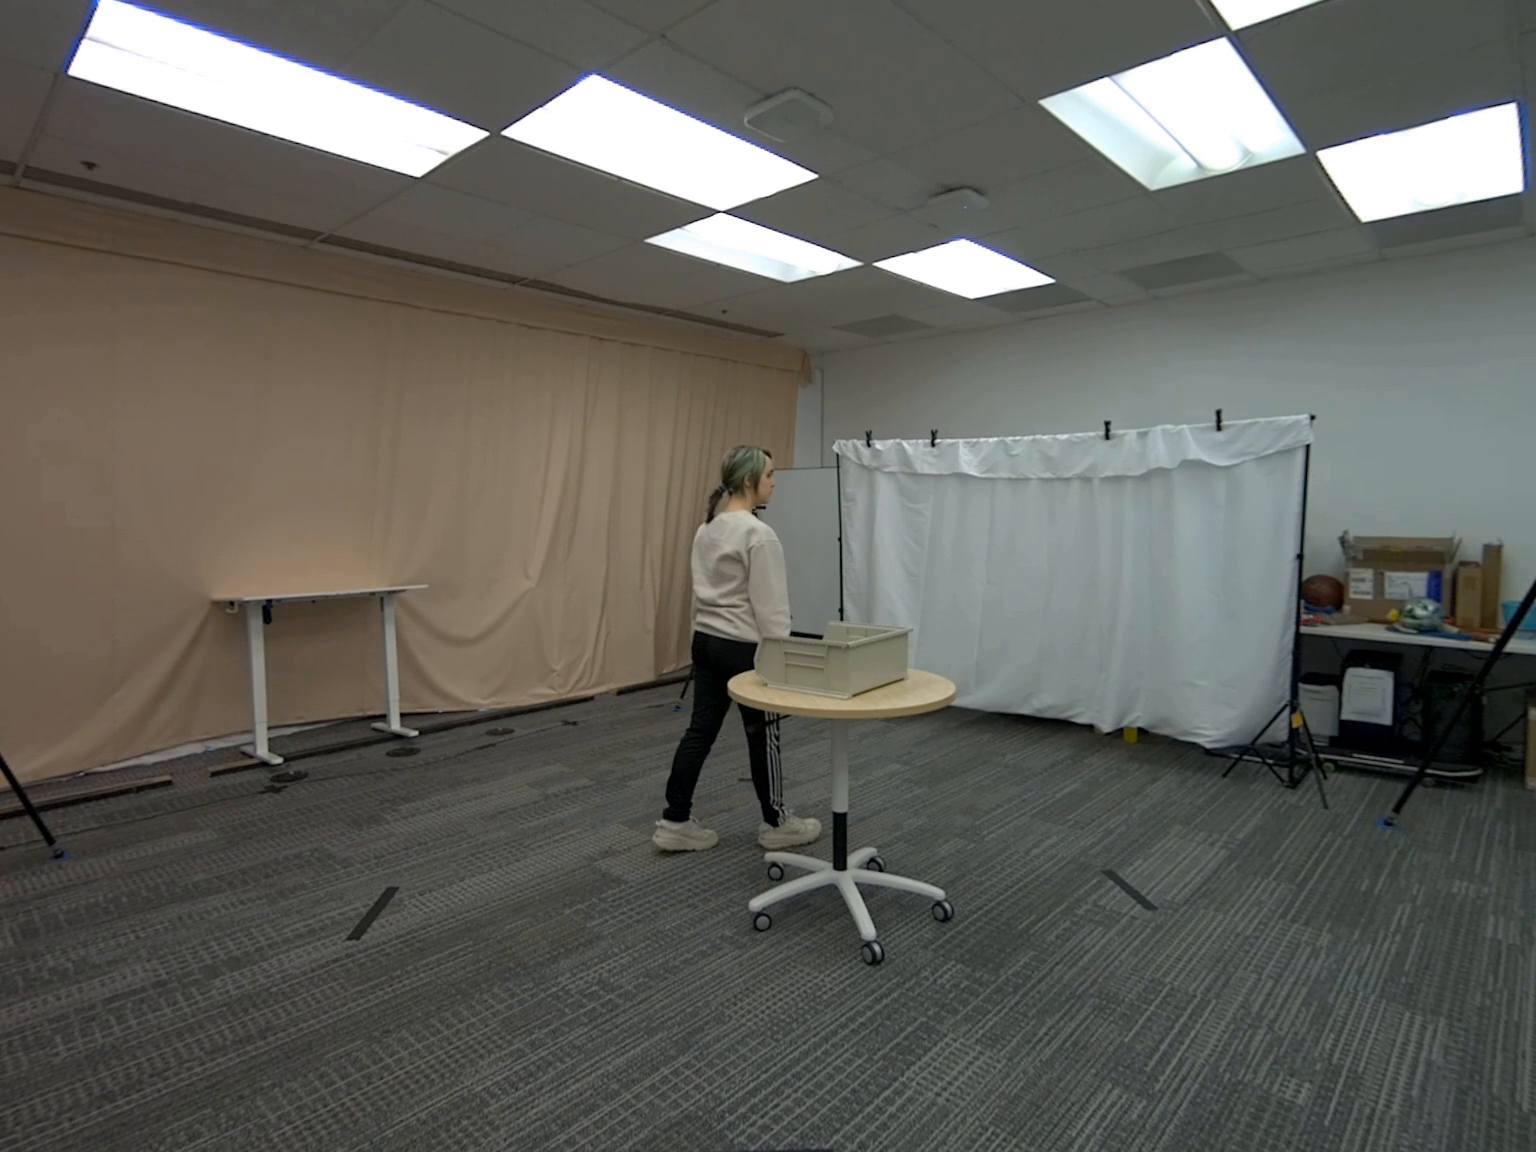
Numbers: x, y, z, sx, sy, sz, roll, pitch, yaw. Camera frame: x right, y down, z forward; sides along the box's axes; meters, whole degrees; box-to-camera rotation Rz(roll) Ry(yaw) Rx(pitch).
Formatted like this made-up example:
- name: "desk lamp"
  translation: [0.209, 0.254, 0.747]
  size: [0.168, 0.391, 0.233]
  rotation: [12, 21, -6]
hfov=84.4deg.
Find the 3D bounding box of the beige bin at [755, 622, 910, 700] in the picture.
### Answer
- name: "beige bin"
  translation: [0.231, 0.278, 2.886]
  size: [0.390, 0.188, 0.410]
  rotation: [4, 6, 38]
